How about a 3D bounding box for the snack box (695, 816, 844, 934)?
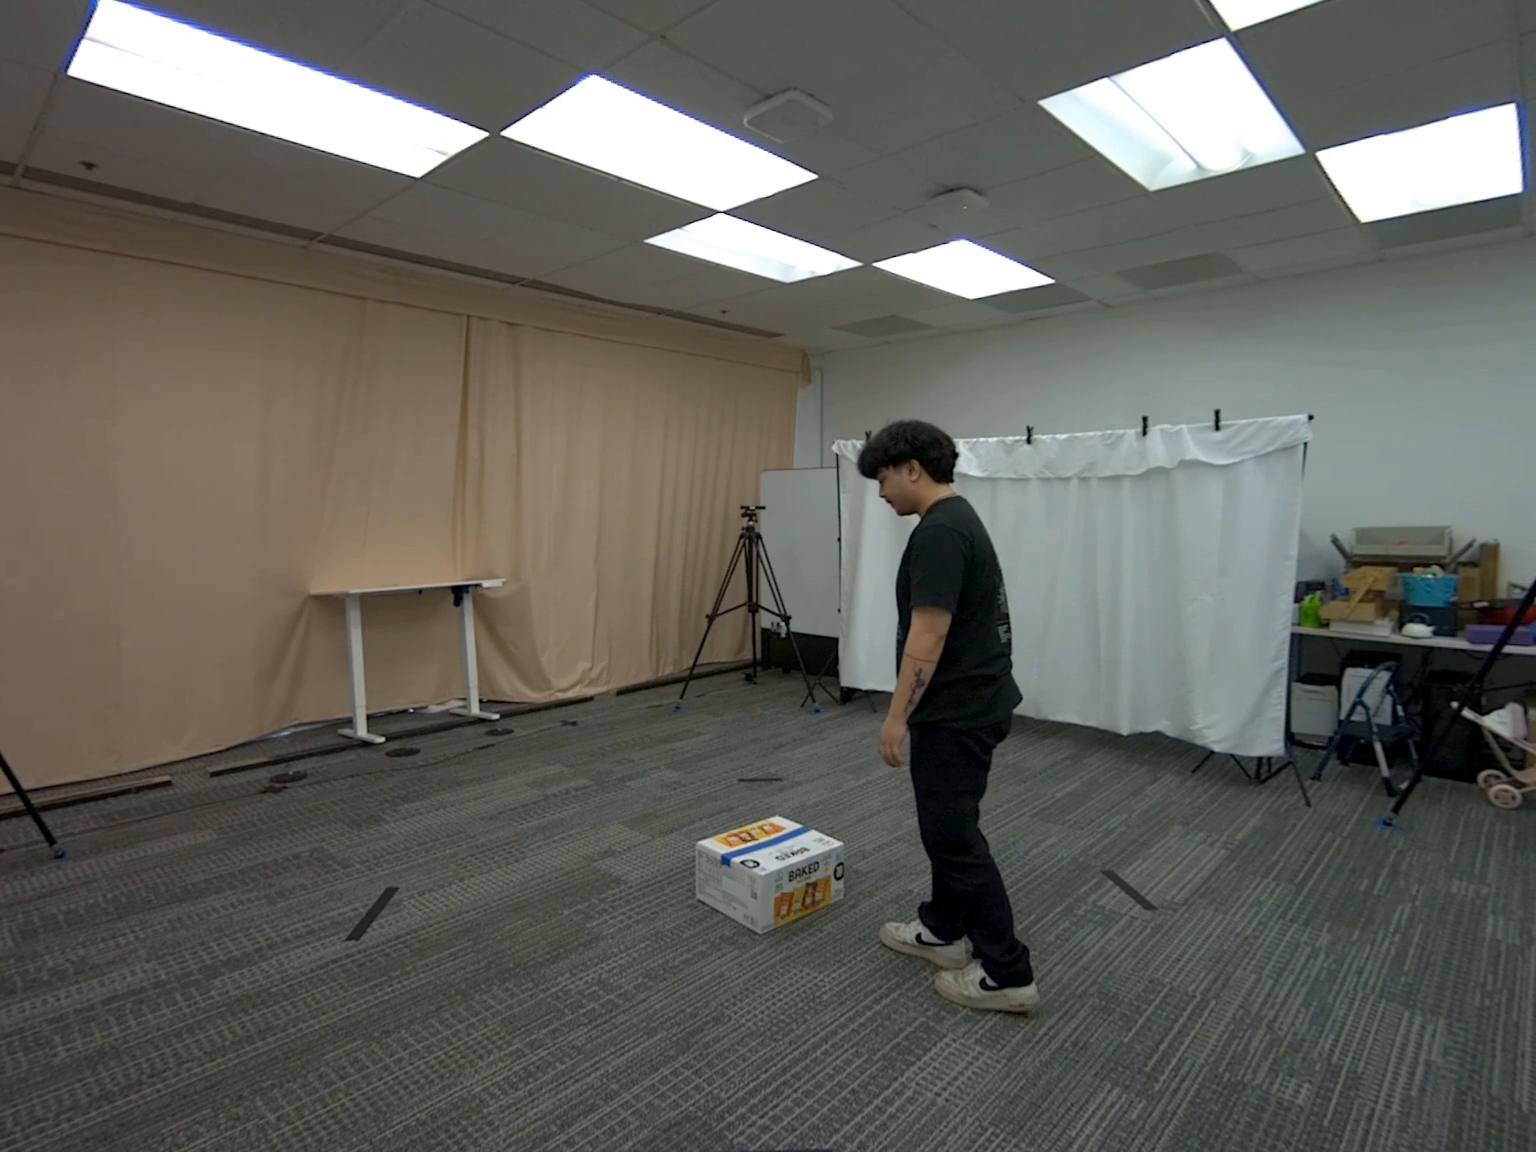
[{"bbox_3d":[0.010,1.044,2.973,0.393,0.205,0.352,-4,6,-41],"label":"snack box"}]
